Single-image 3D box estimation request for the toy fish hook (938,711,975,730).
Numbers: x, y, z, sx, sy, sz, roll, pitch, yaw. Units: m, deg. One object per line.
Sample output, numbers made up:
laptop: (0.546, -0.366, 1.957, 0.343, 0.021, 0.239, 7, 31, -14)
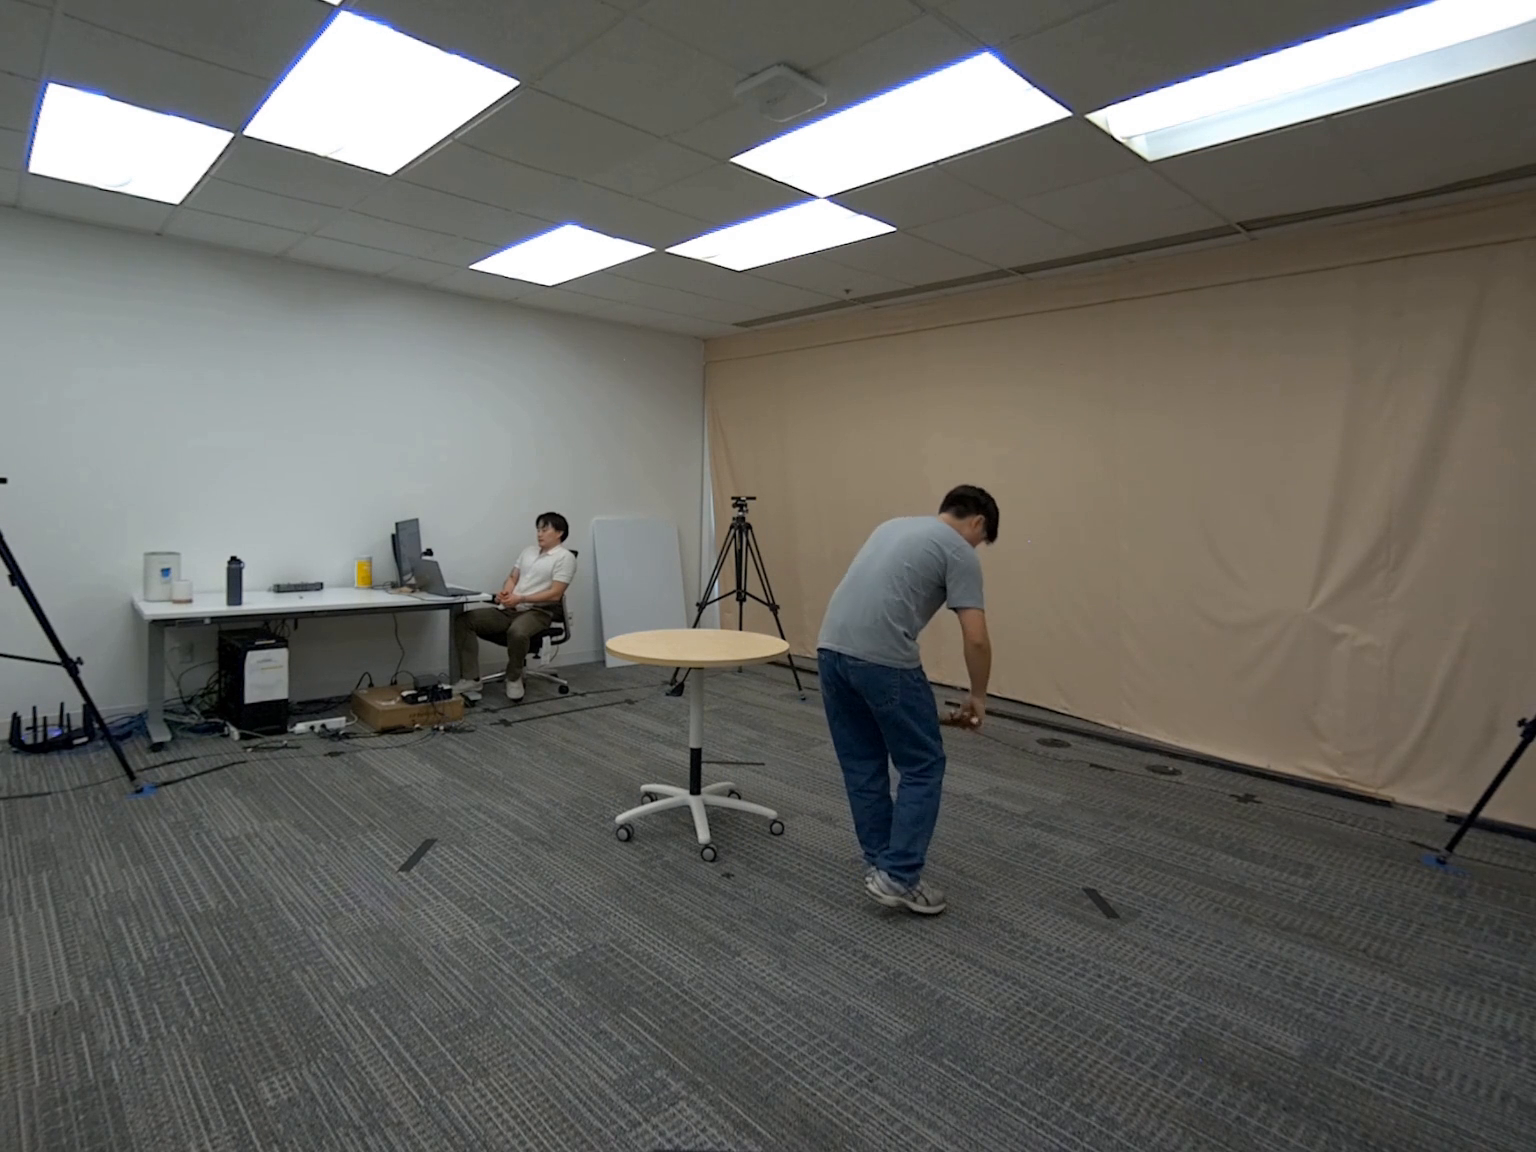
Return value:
toy fish hook: (0.633, 0.580, 3.159, 0.048, 0.222, 0.515, -32, 11, -25)
